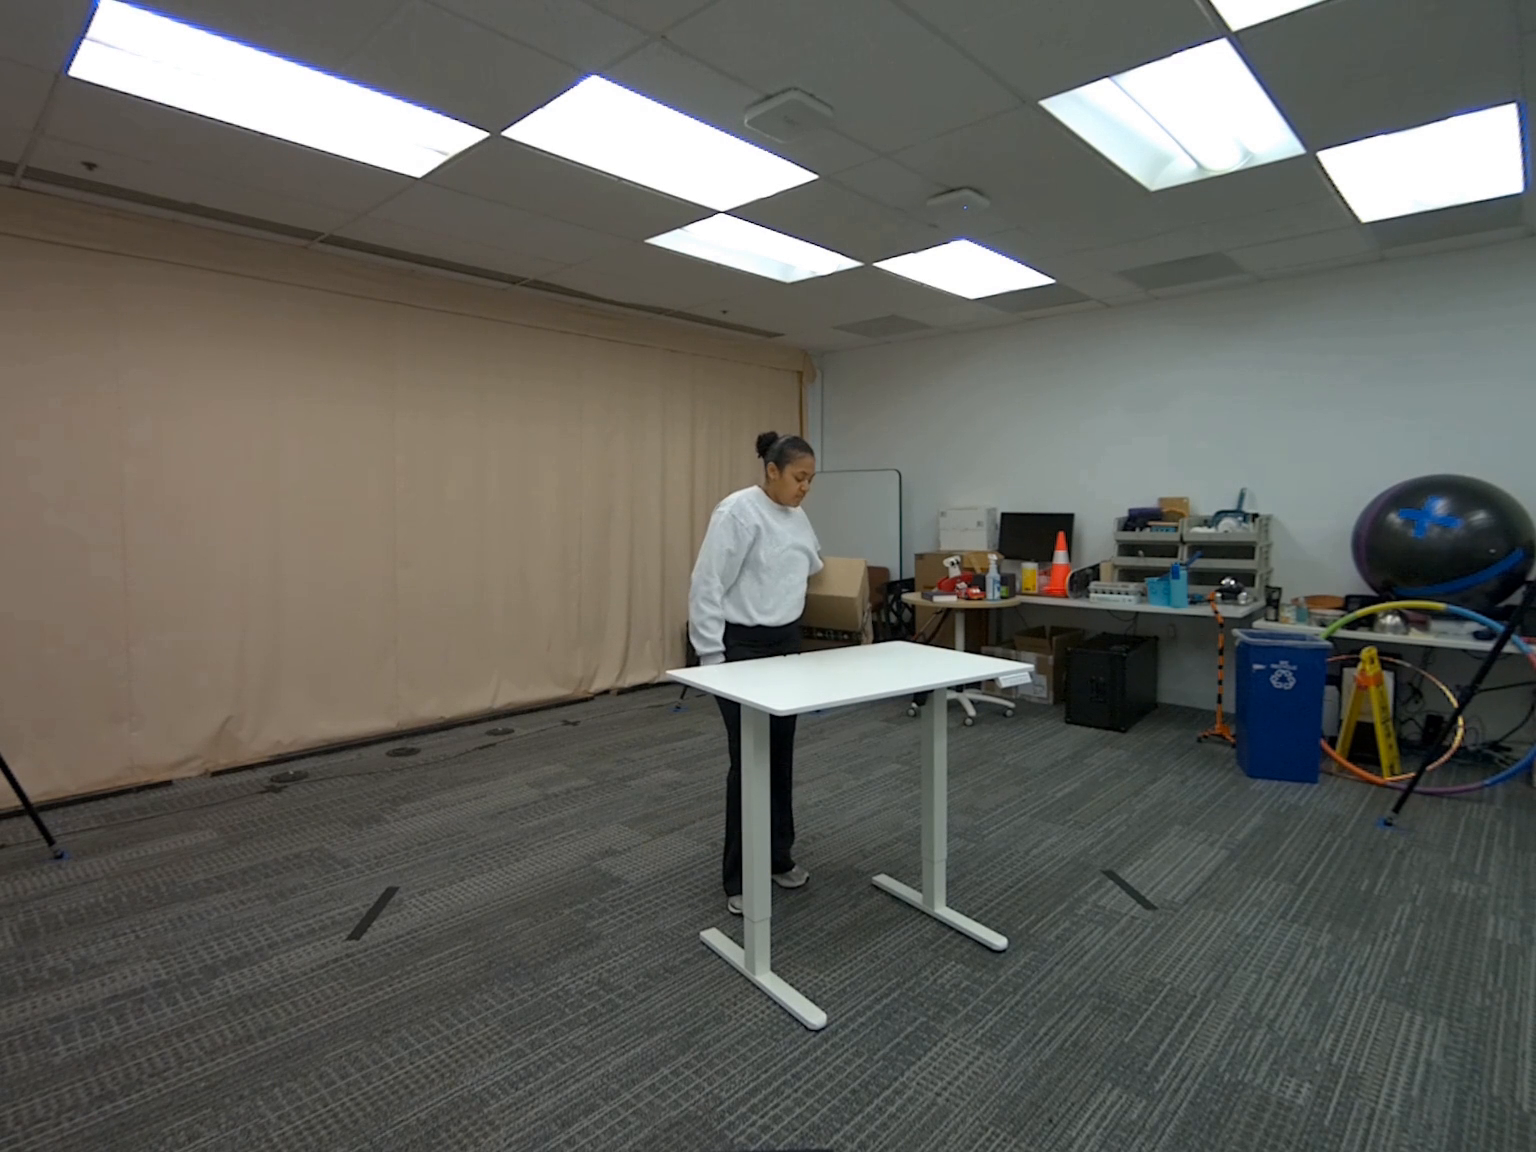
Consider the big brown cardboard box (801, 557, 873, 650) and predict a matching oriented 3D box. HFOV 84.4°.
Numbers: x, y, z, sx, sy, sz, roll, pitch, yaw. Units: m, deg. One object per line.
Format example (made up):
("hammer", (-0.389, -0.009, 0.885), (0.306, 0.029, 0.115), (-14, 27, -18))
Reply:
("big brown cardboard box", (0.116, 0.145, 3.364), (0.601, 0.407, 0.234), (3, 41, 18))
